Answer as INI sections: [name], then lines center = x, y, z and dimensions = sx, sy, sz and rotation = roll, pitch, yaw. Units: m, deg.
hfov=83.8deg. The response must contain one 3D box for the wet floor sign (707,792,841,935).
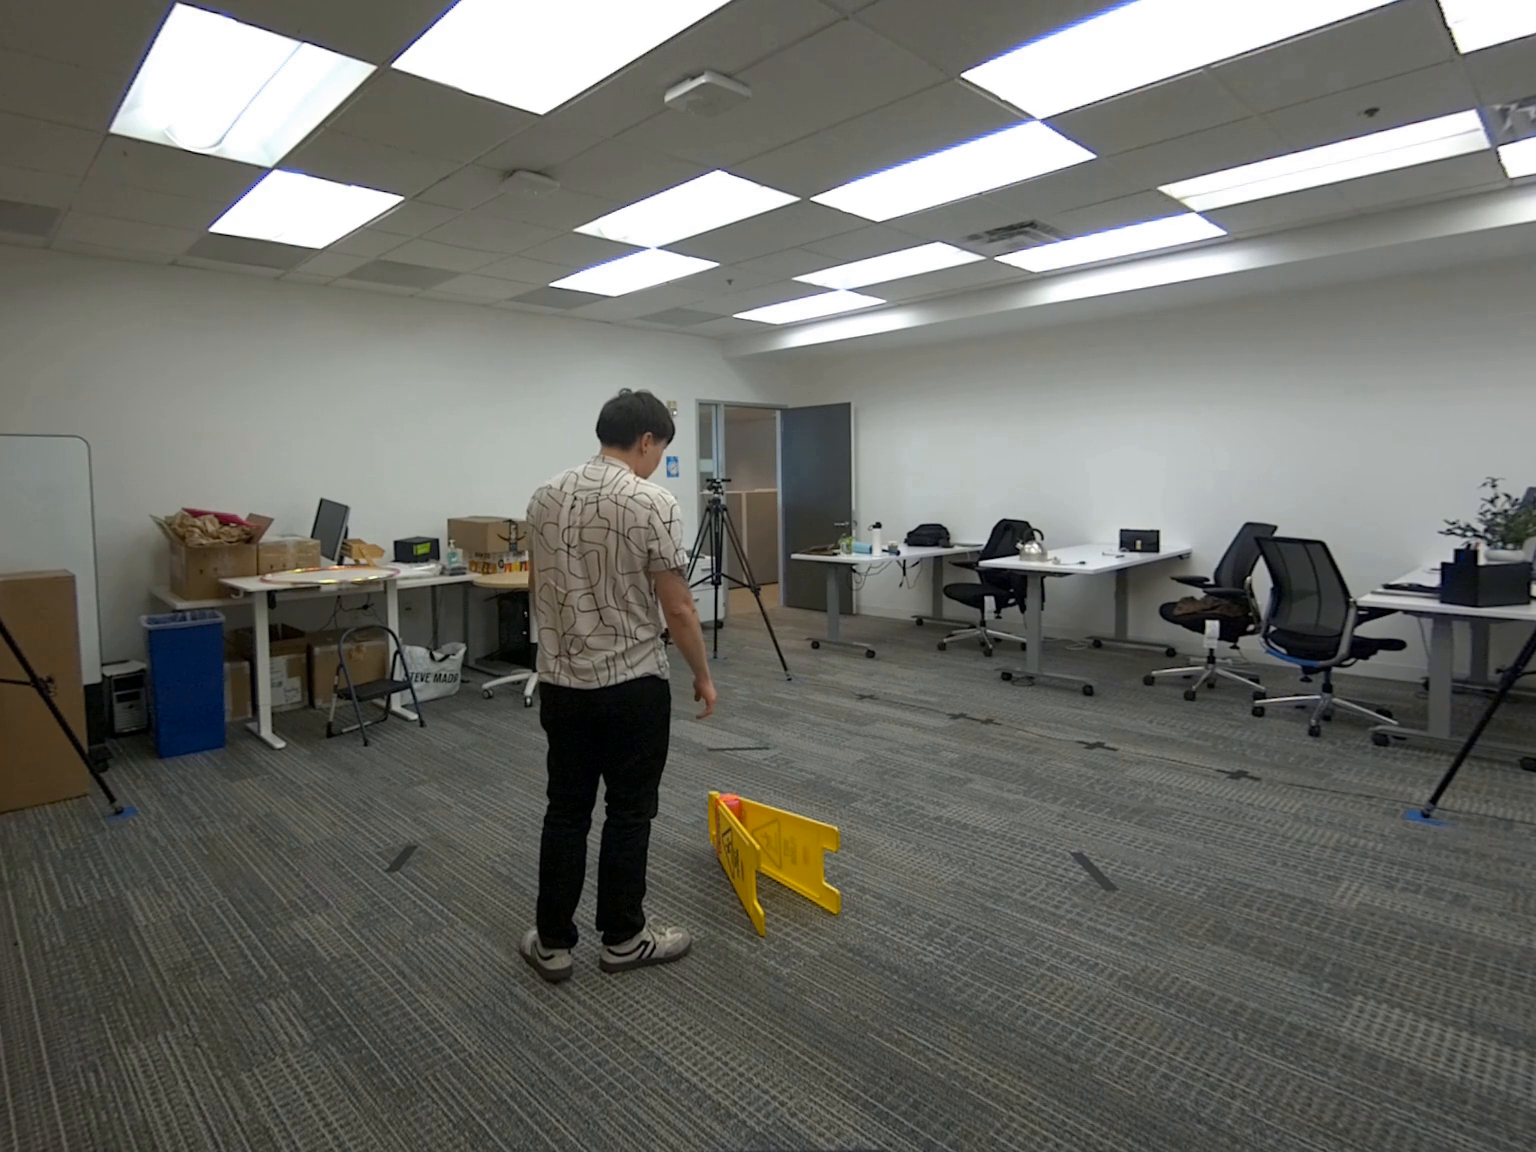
[wet floor sign]
center = -0.056, 0.931, 2.947
dimensions = 0.283, 0.281, 0.663
rotation = -4, 5, -29
